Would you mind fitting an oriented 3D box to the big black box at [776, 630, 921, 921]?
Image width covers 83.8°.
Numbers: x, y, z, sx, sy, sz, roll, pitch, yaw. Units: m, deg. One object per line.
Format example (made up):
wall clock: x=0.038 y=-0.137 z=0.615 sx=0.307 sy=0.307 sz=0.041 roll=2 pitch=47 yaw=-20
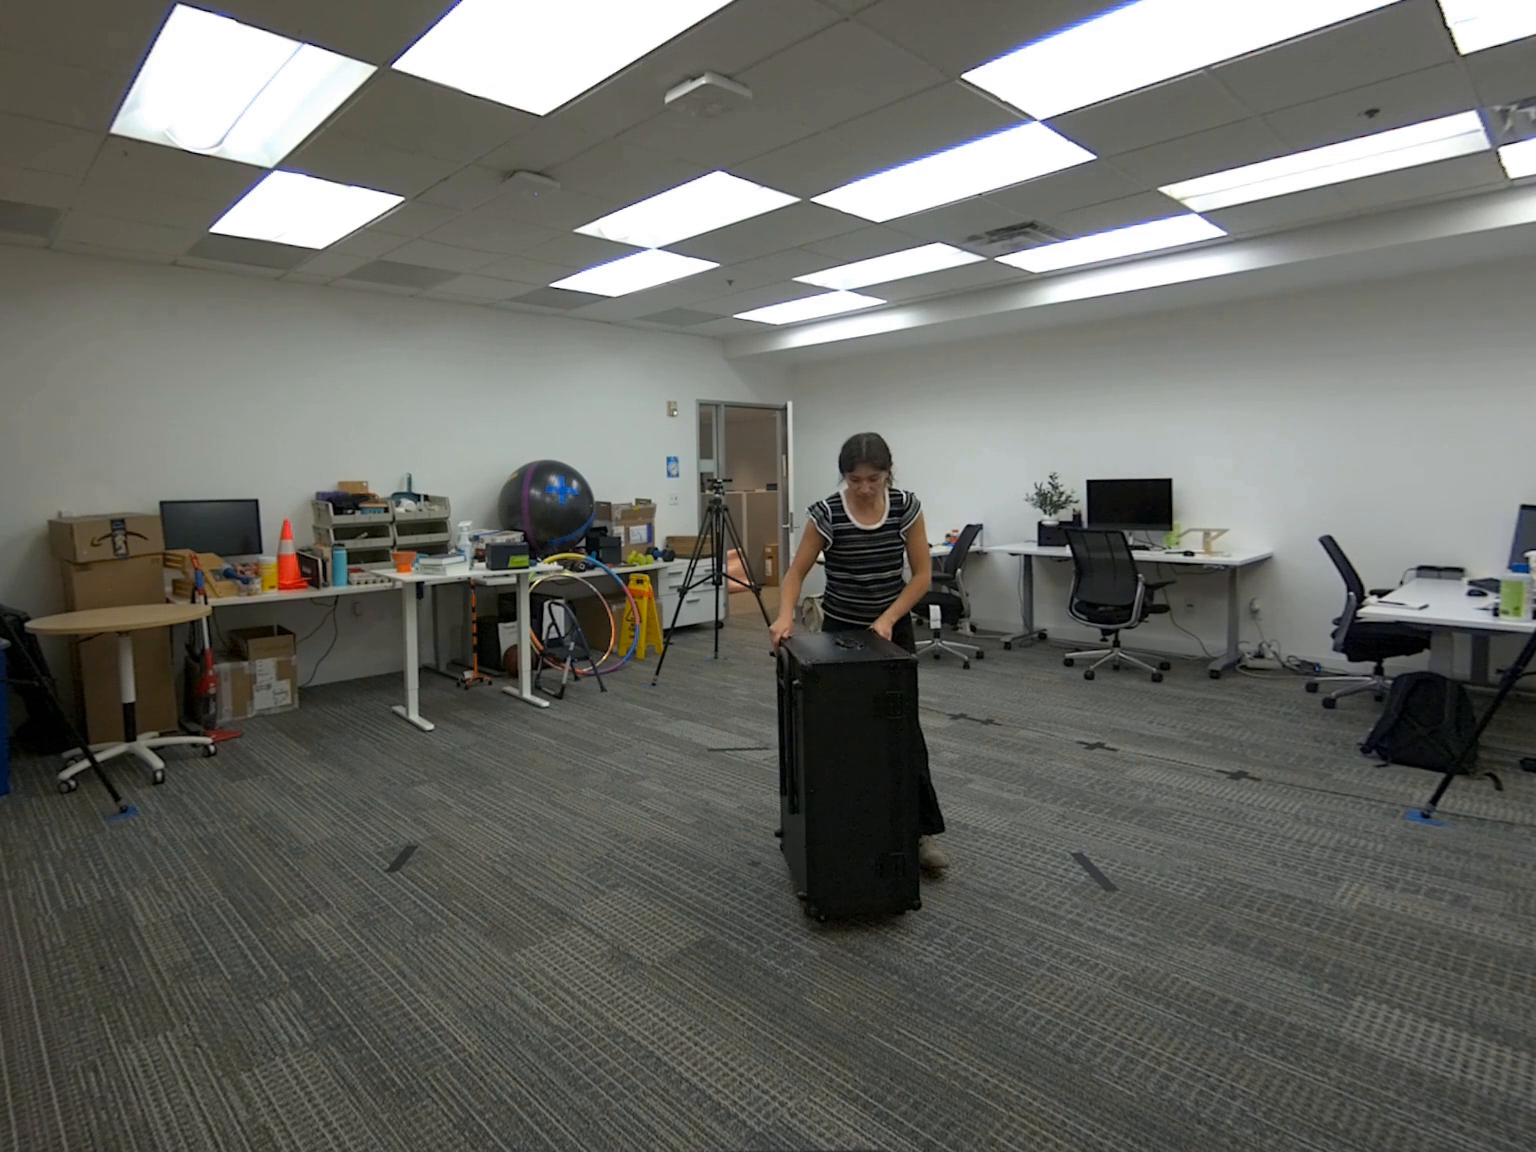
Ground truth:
big black box: x=0.243 y=0.650 z=2.805 sx=0.394 sy=0.858 sz=0.527 roll=-3 pitch=5 yaw=-8
